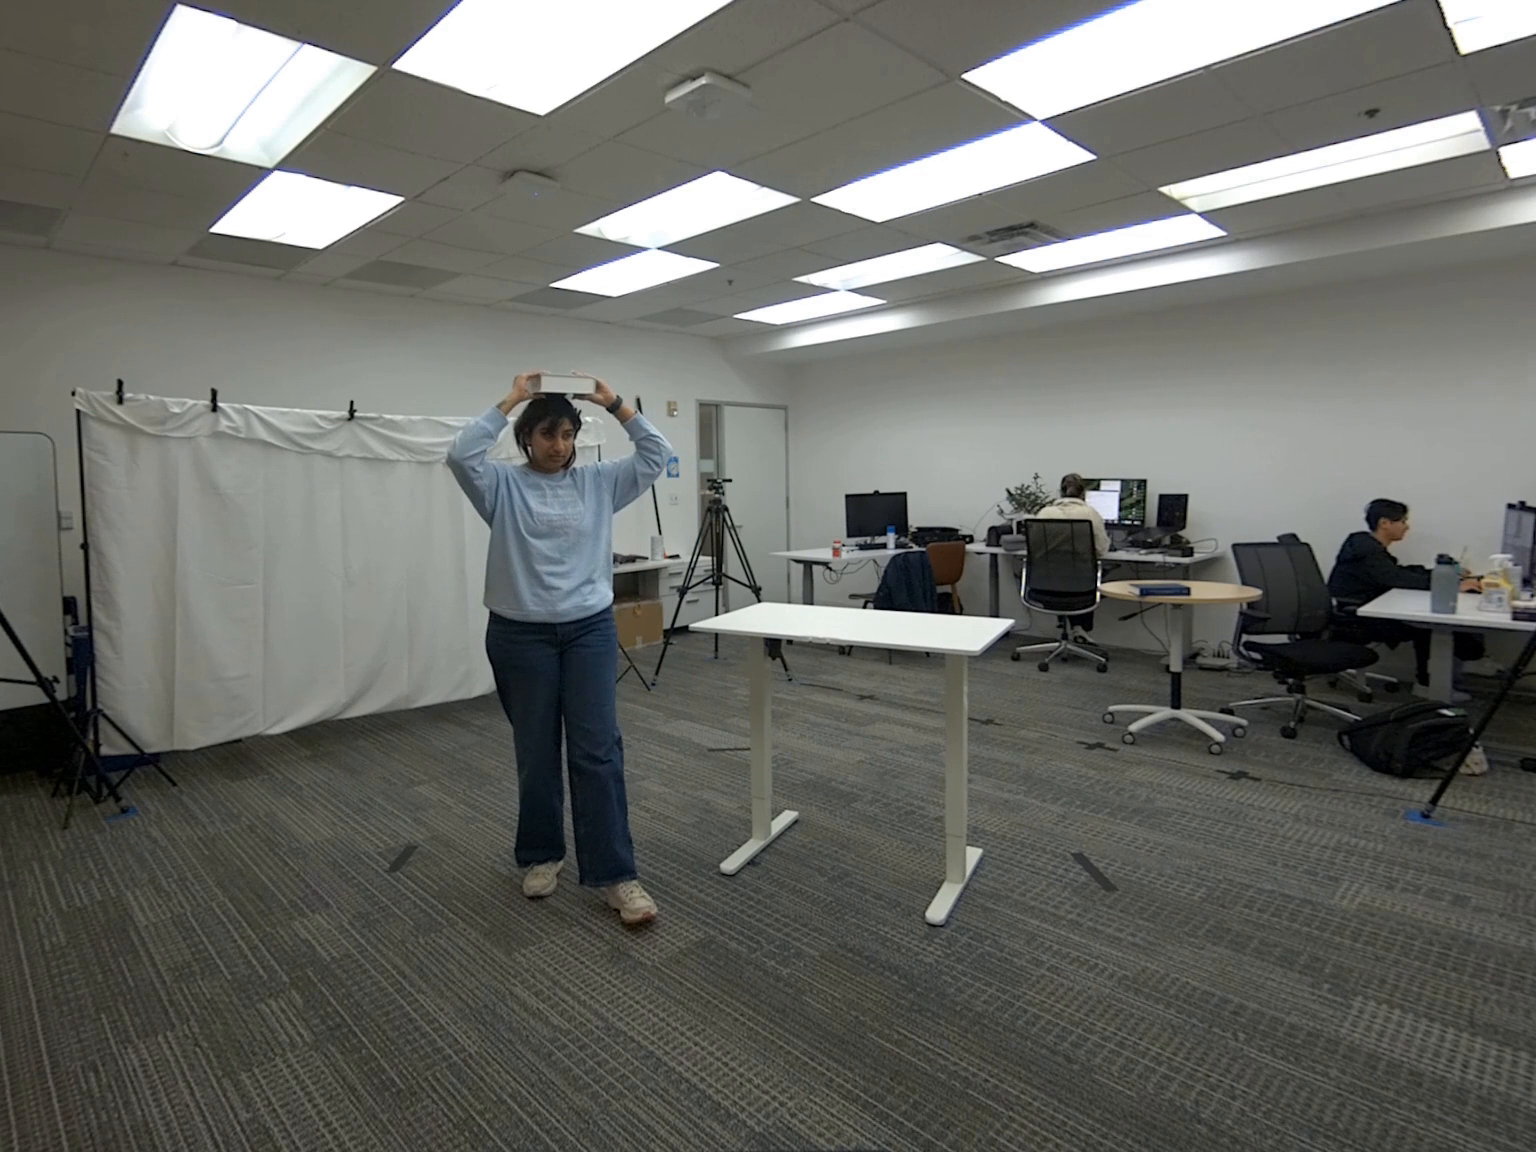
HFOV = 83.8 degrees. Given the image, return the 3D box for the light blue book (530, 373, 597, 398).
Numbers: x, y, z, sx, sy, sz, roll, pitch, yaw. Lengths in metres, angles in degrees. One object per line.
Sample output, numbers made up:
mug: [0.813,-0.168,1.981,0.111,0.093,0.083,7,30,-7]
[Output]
light blue book: [-0.715,-0.622,2.810,0.187,0.059,0.268,-5,8,-30]
